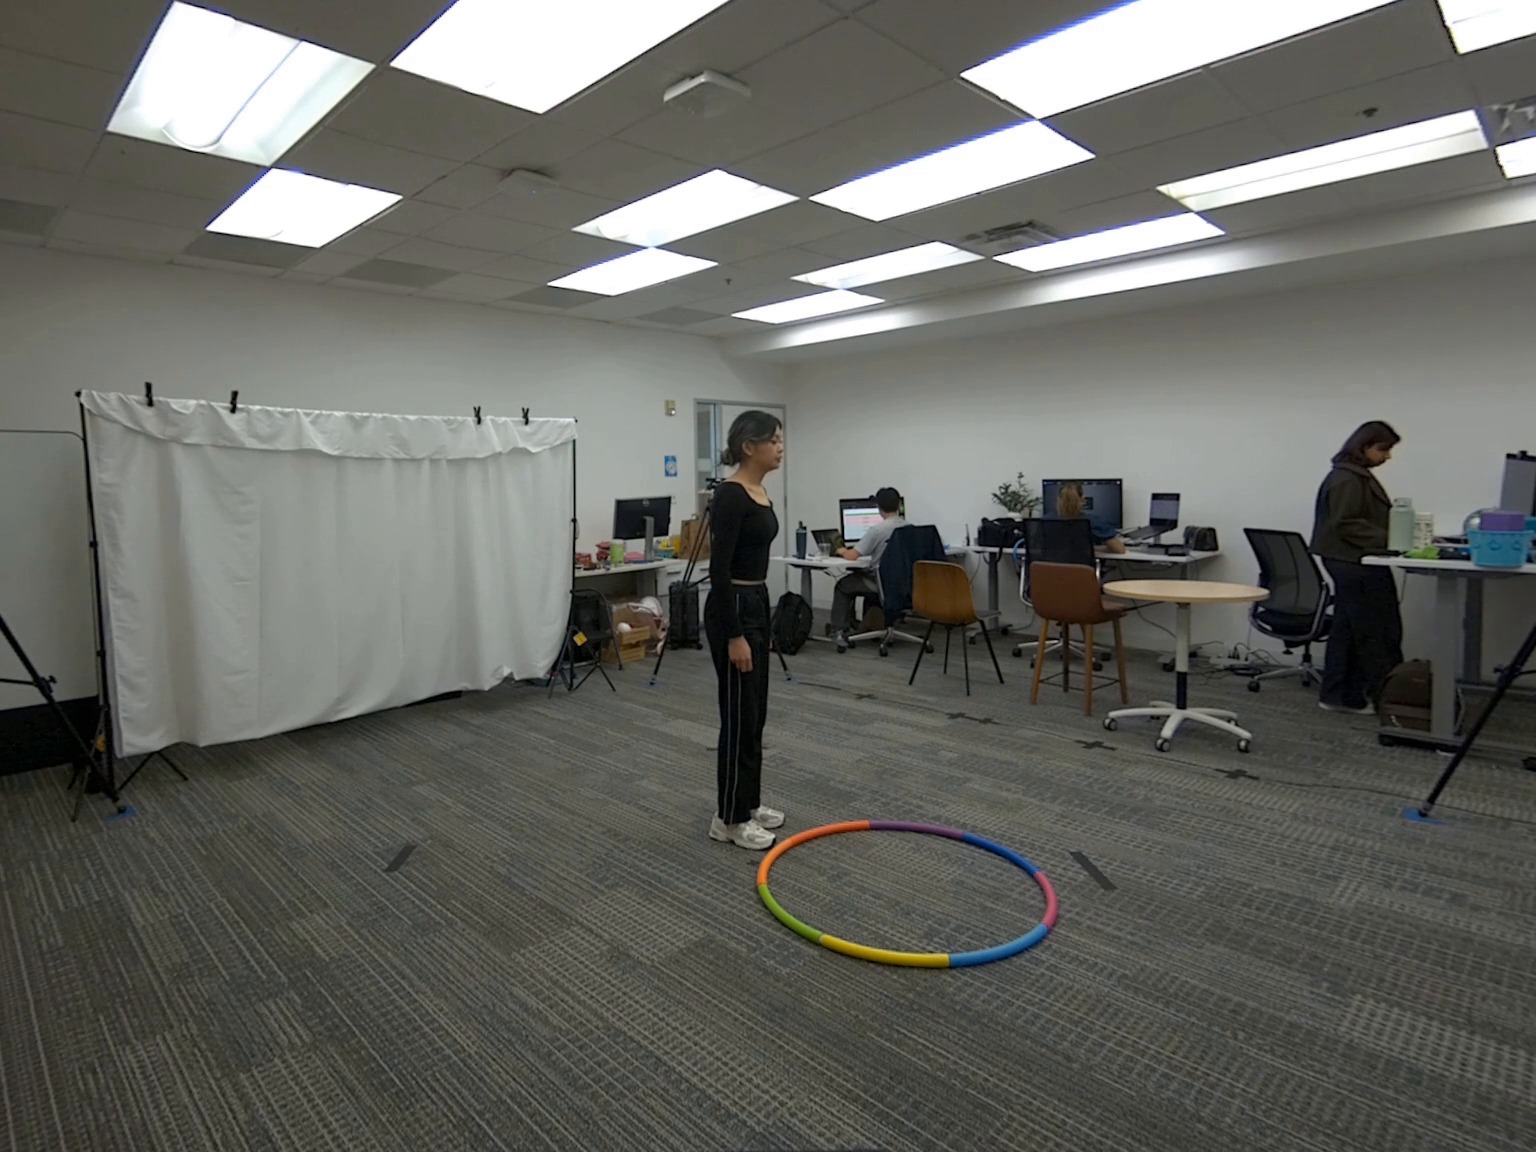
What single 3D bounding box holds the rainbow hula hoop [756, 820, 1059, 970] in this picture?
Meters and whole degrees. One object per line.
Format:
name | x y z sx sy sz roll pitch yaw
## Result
rainbow hula hoop | 0.454 1.027 2.904 0.978 0.035 0.984 -2 7 -2
